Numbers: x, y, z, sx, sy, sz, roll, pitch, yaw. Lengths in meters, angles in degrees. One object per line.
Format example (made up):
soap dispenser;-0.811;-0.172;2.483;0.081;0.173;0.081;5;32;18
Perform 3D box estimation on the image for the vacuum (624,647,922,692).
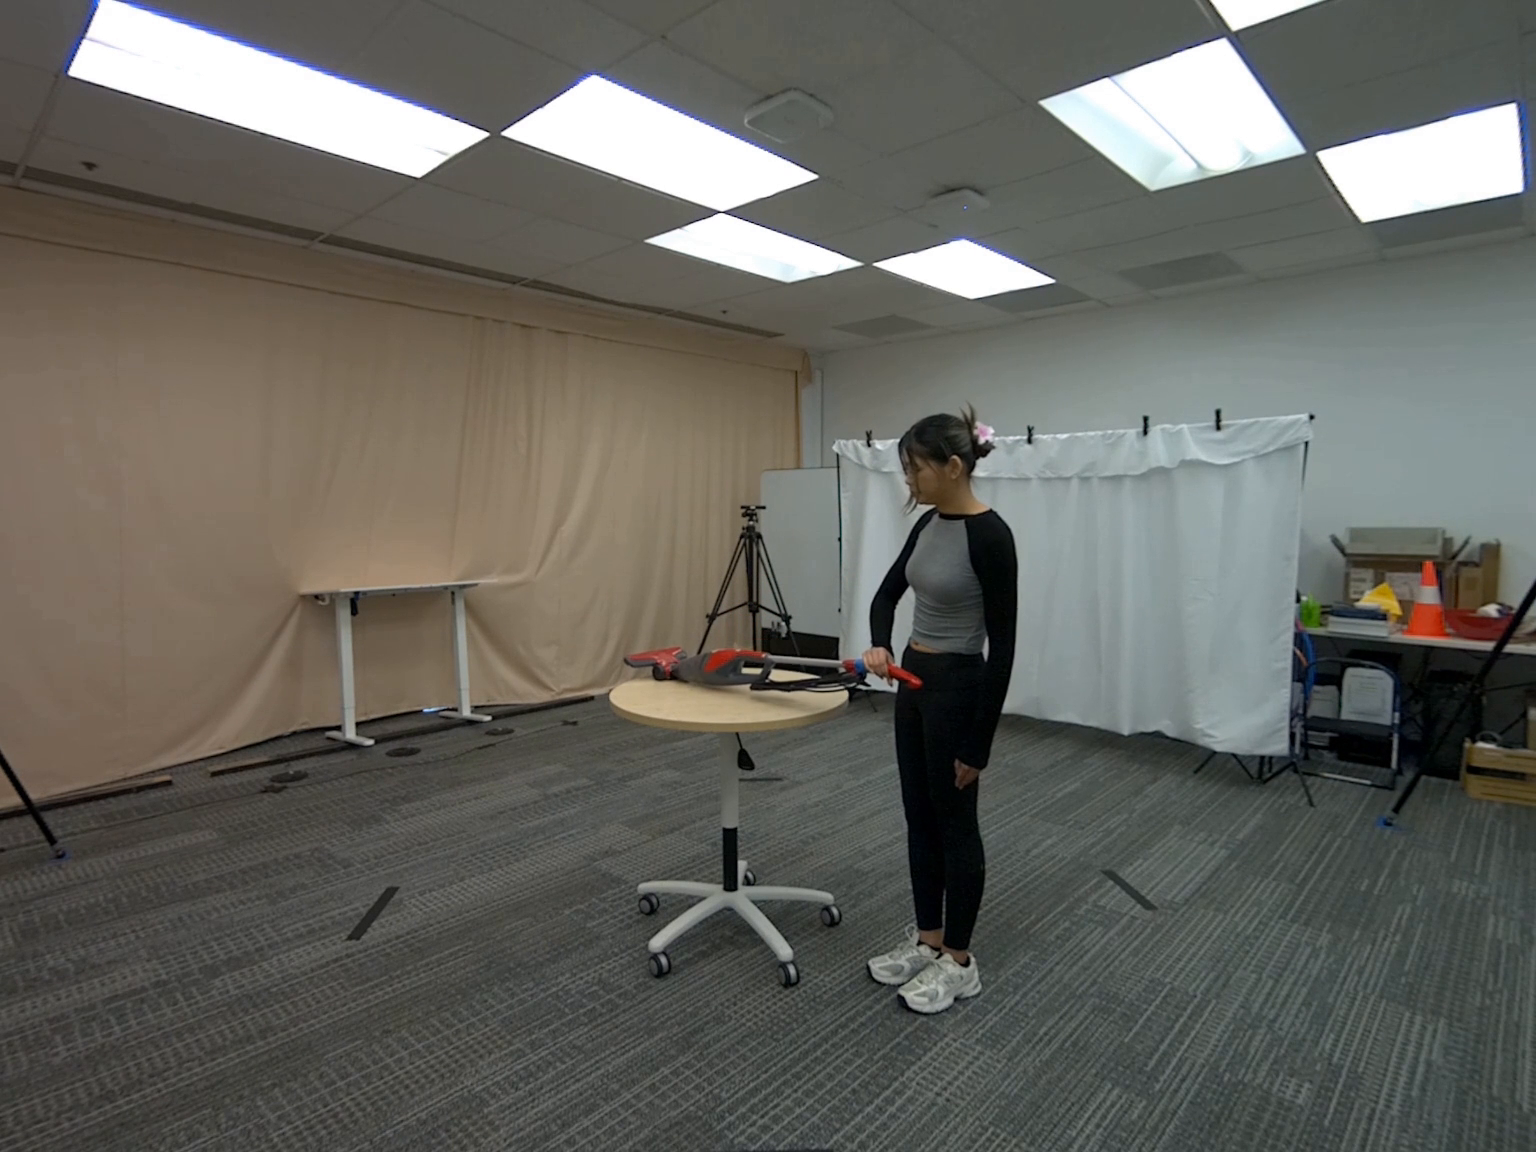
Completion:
vacuum;-0.010;0.309;2.579;0.245;0.144;1.082;-2;0;-45
